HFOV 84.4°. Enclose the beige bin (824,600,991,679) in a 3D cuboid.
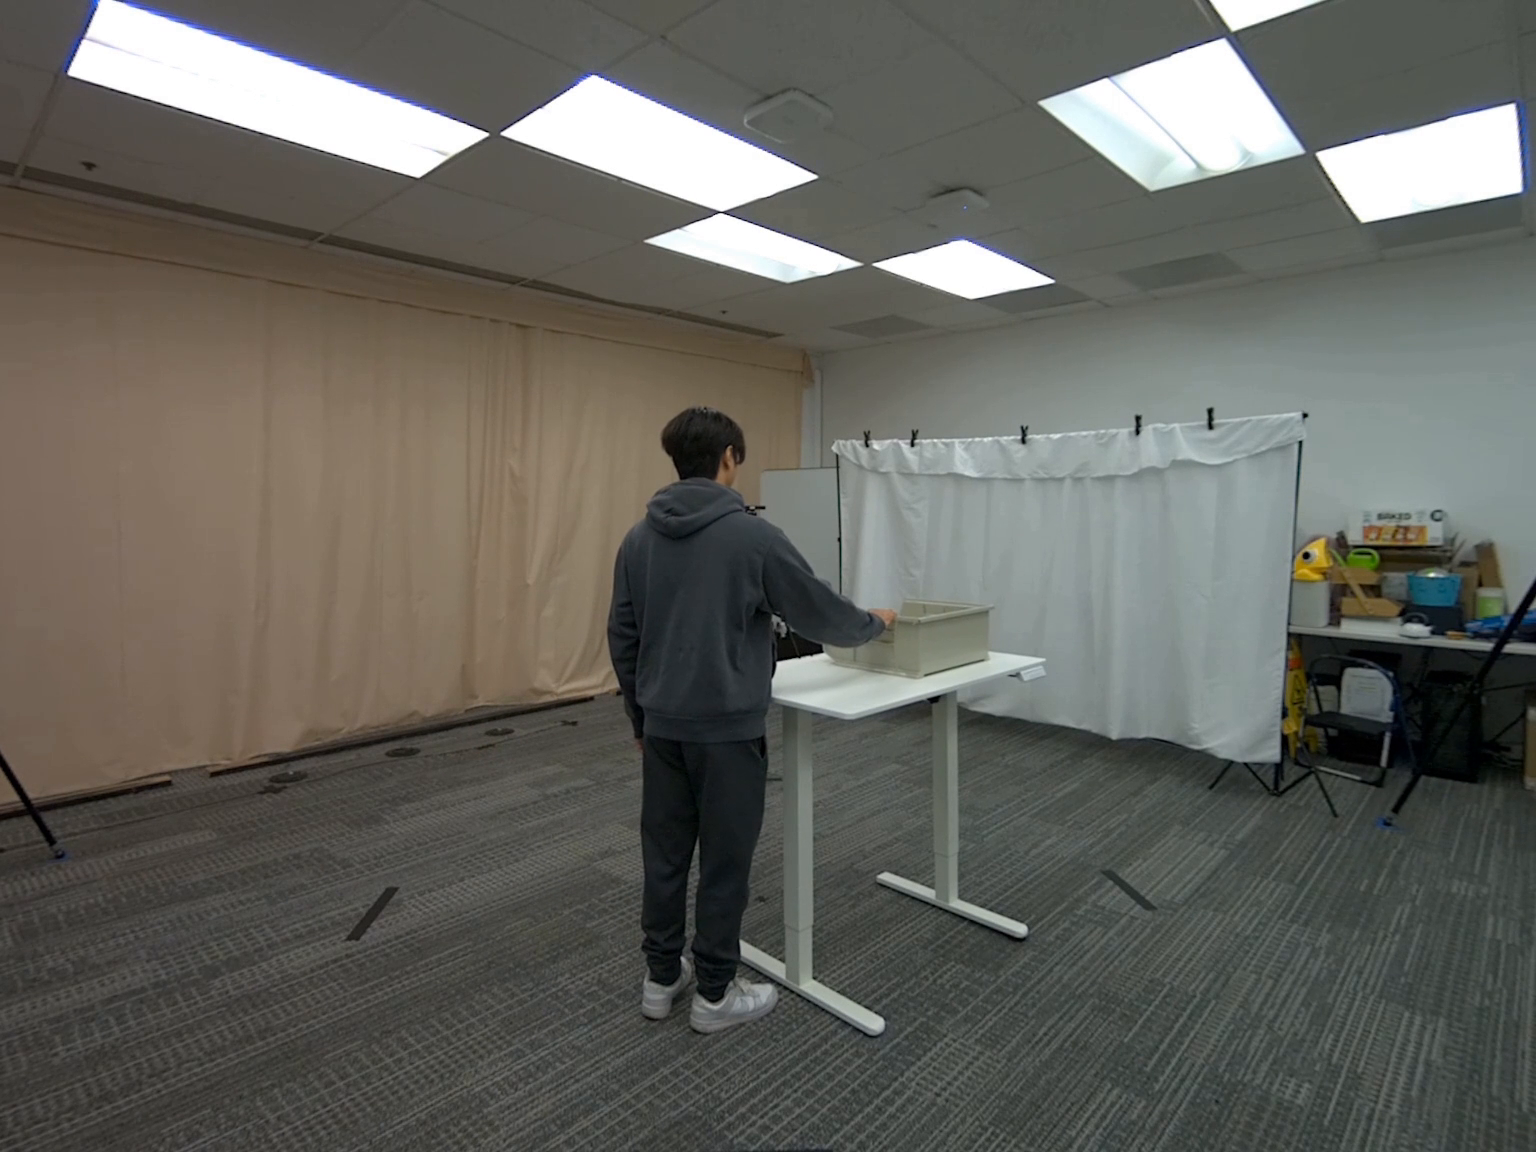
[{"bbox_3d":[0.454,0.192,2.720,0.409,0.188,0.390,-5,6,-44],"label":"beige bin"}]
